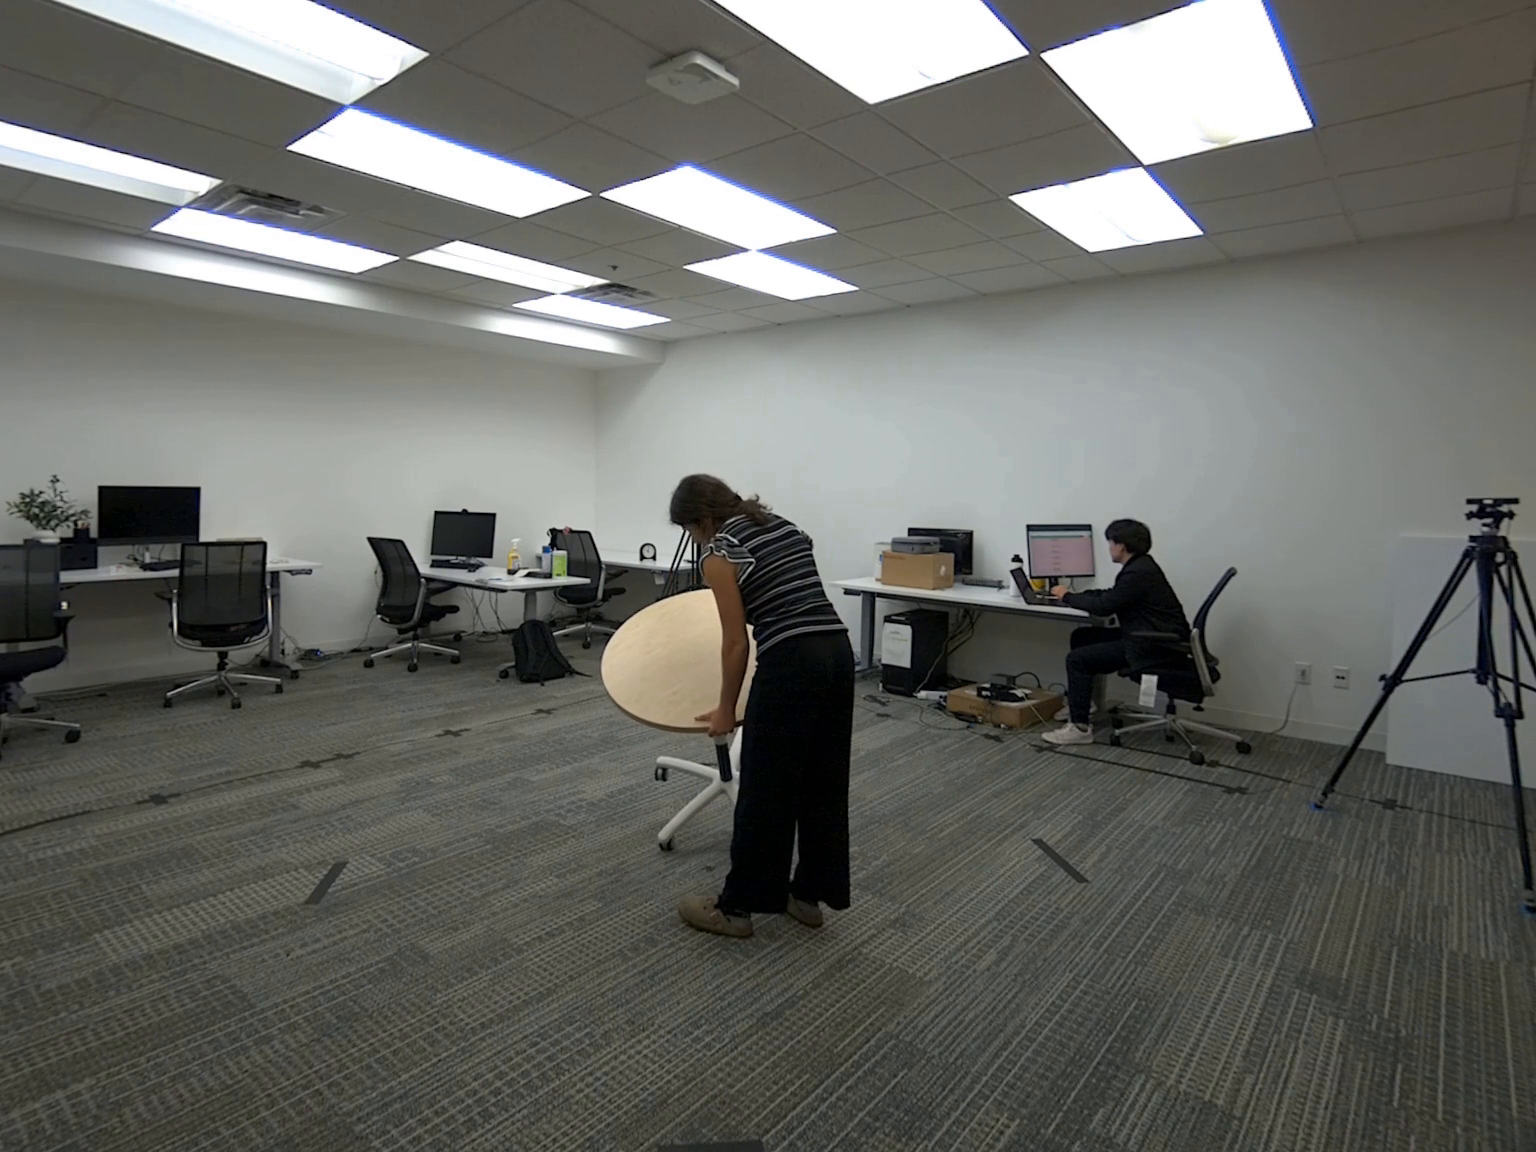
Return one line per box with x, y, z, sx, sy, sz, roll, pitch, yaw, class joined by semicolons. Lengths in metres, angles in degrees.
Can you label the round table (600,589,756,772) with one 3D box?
-0.194;0.589;3.242;0.766;0.771;0.784;-6;32;2;round table
